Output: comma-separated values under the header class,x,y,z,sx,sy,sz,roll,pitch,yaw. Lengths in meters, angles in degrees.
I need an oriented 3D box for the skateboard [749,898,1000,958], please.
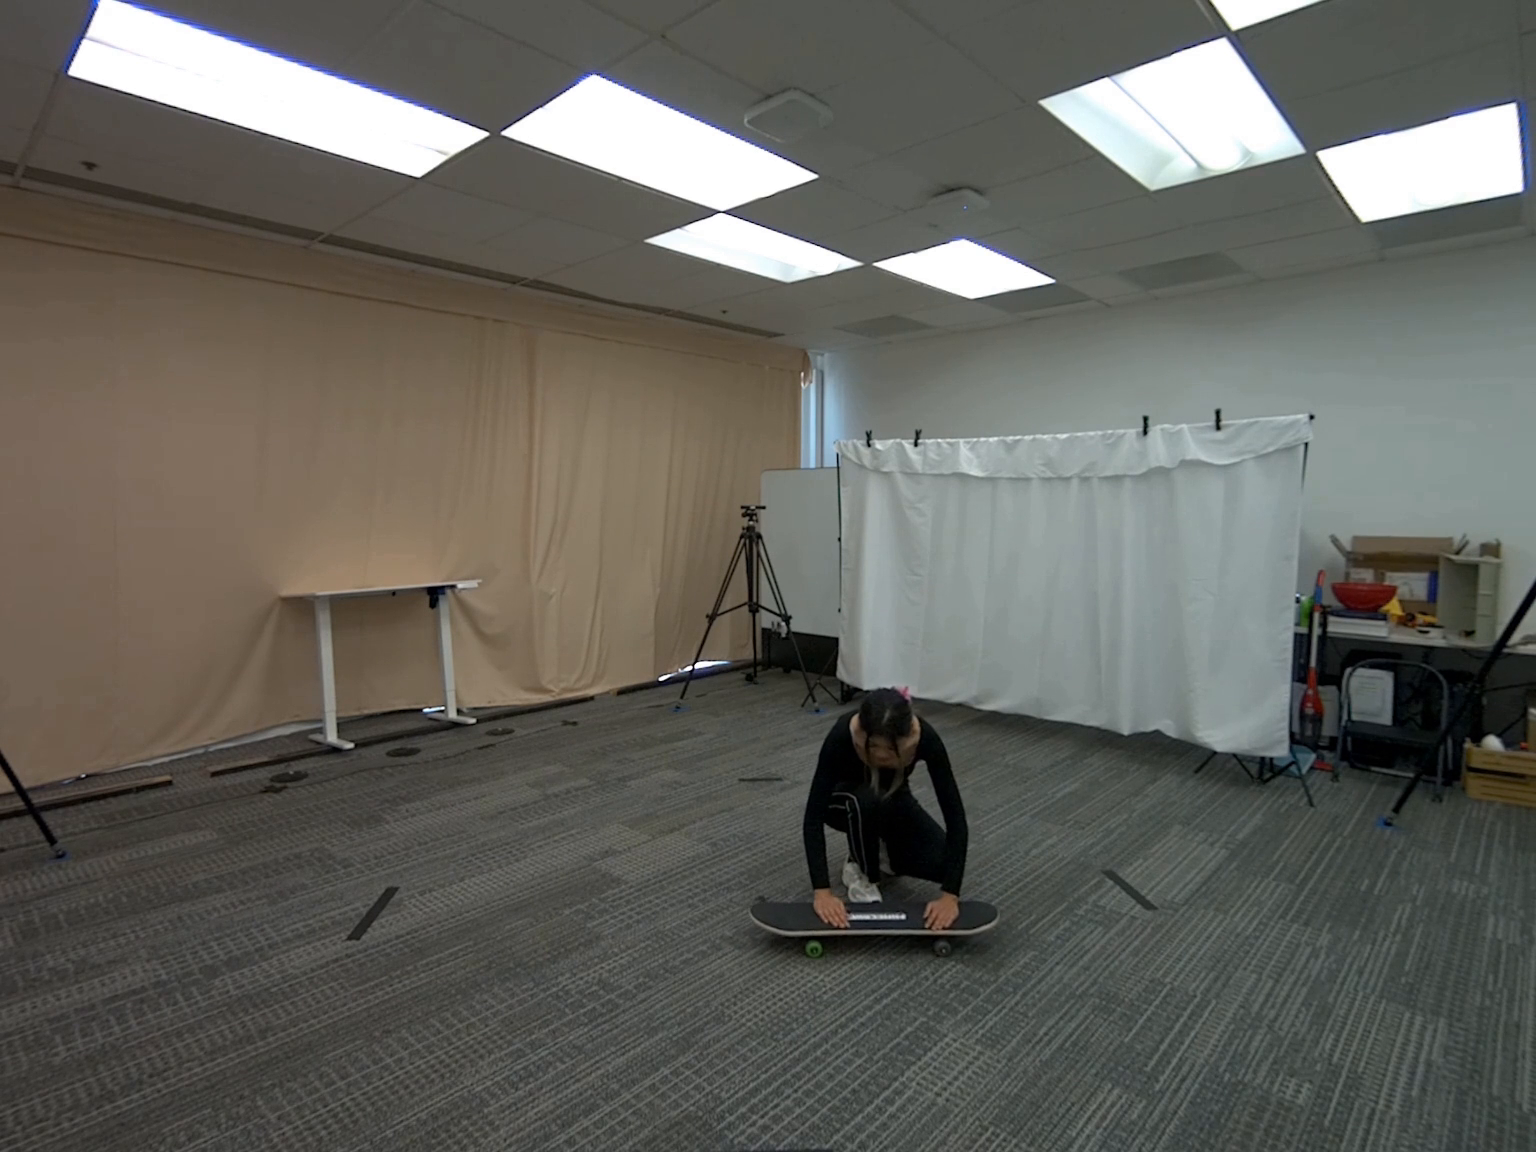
class,x,y,z,sx,sy,sz,roll,pitch,yaw
skateboard,0.329,1.106,2.675,0.786,0.110,0.194,0,3,0
